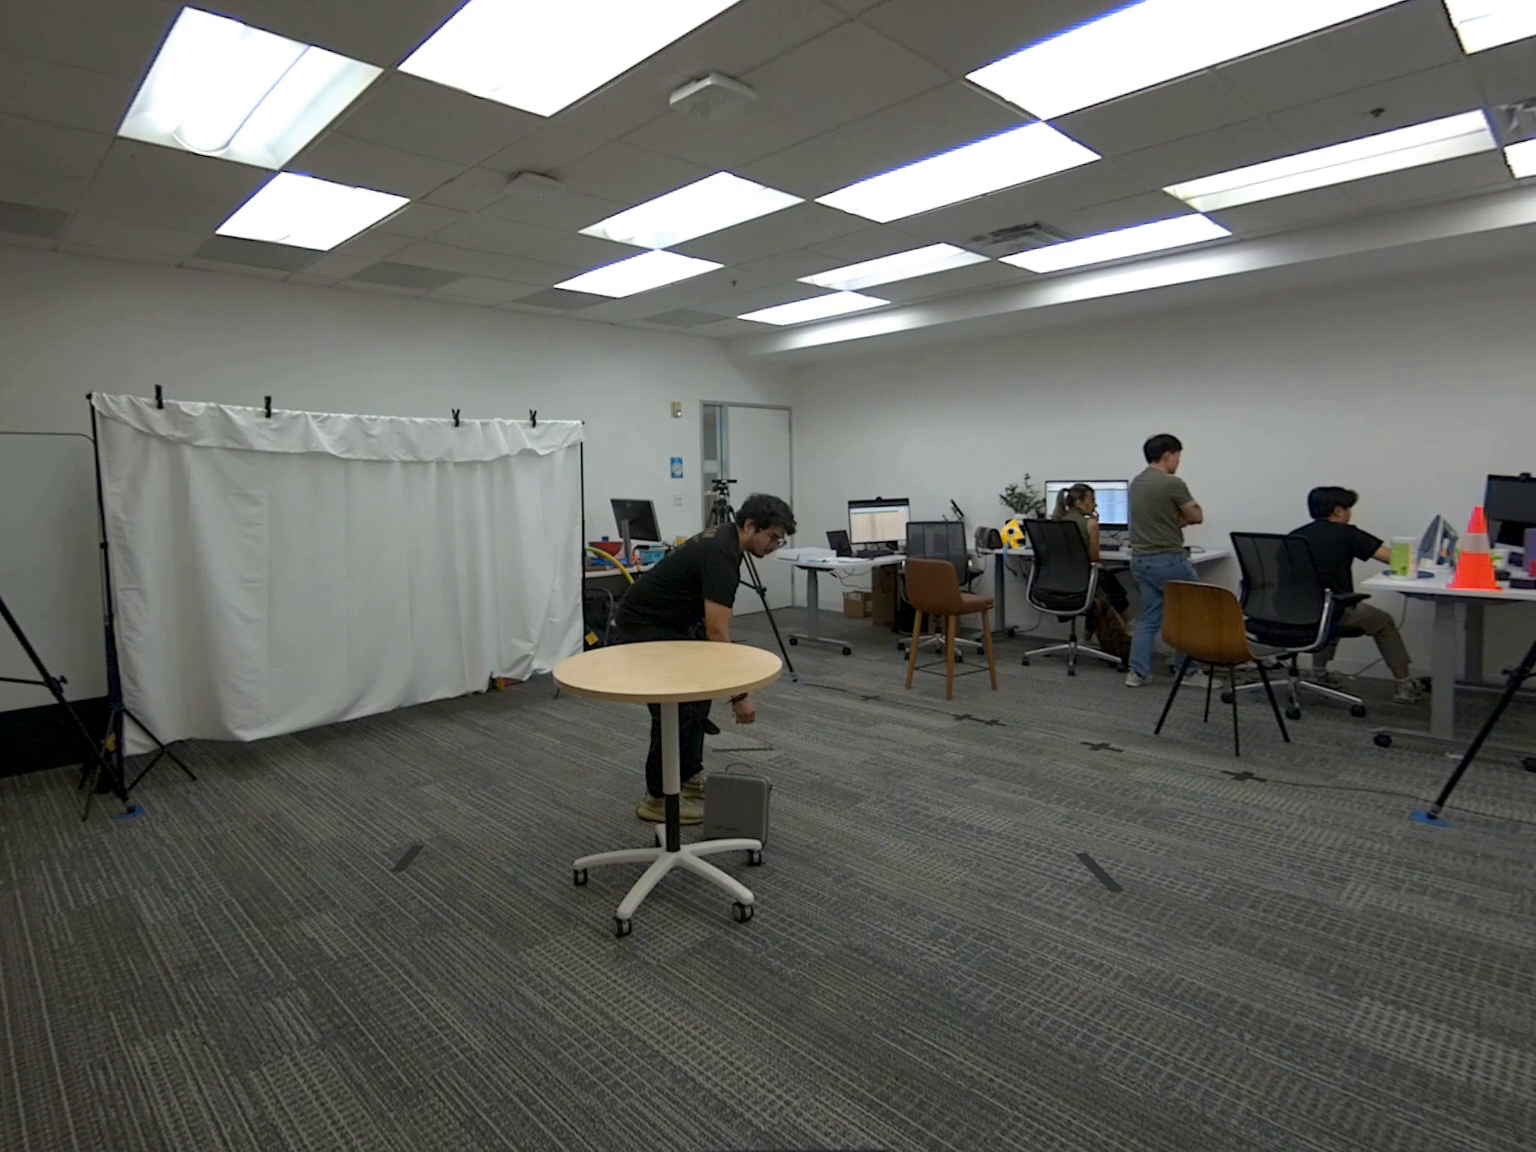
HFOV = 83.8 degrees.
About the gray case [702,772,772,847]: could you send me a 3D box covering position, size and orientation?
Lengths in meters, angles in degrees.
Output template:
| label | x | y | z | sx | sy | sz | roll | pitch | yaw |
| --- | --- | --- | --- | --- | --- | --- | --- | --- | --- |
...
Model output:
| label | x | y | z | sx | sy | sz | roll | pitch | yaw |
| --- | --- | --- | --- | --- | --- | --- | --- | --- | --- |
| gray case | -0.119 | 0.890 | 3.318 | 0.261 | 0.262 | 0.102 | 2 | -8 | 18 |
